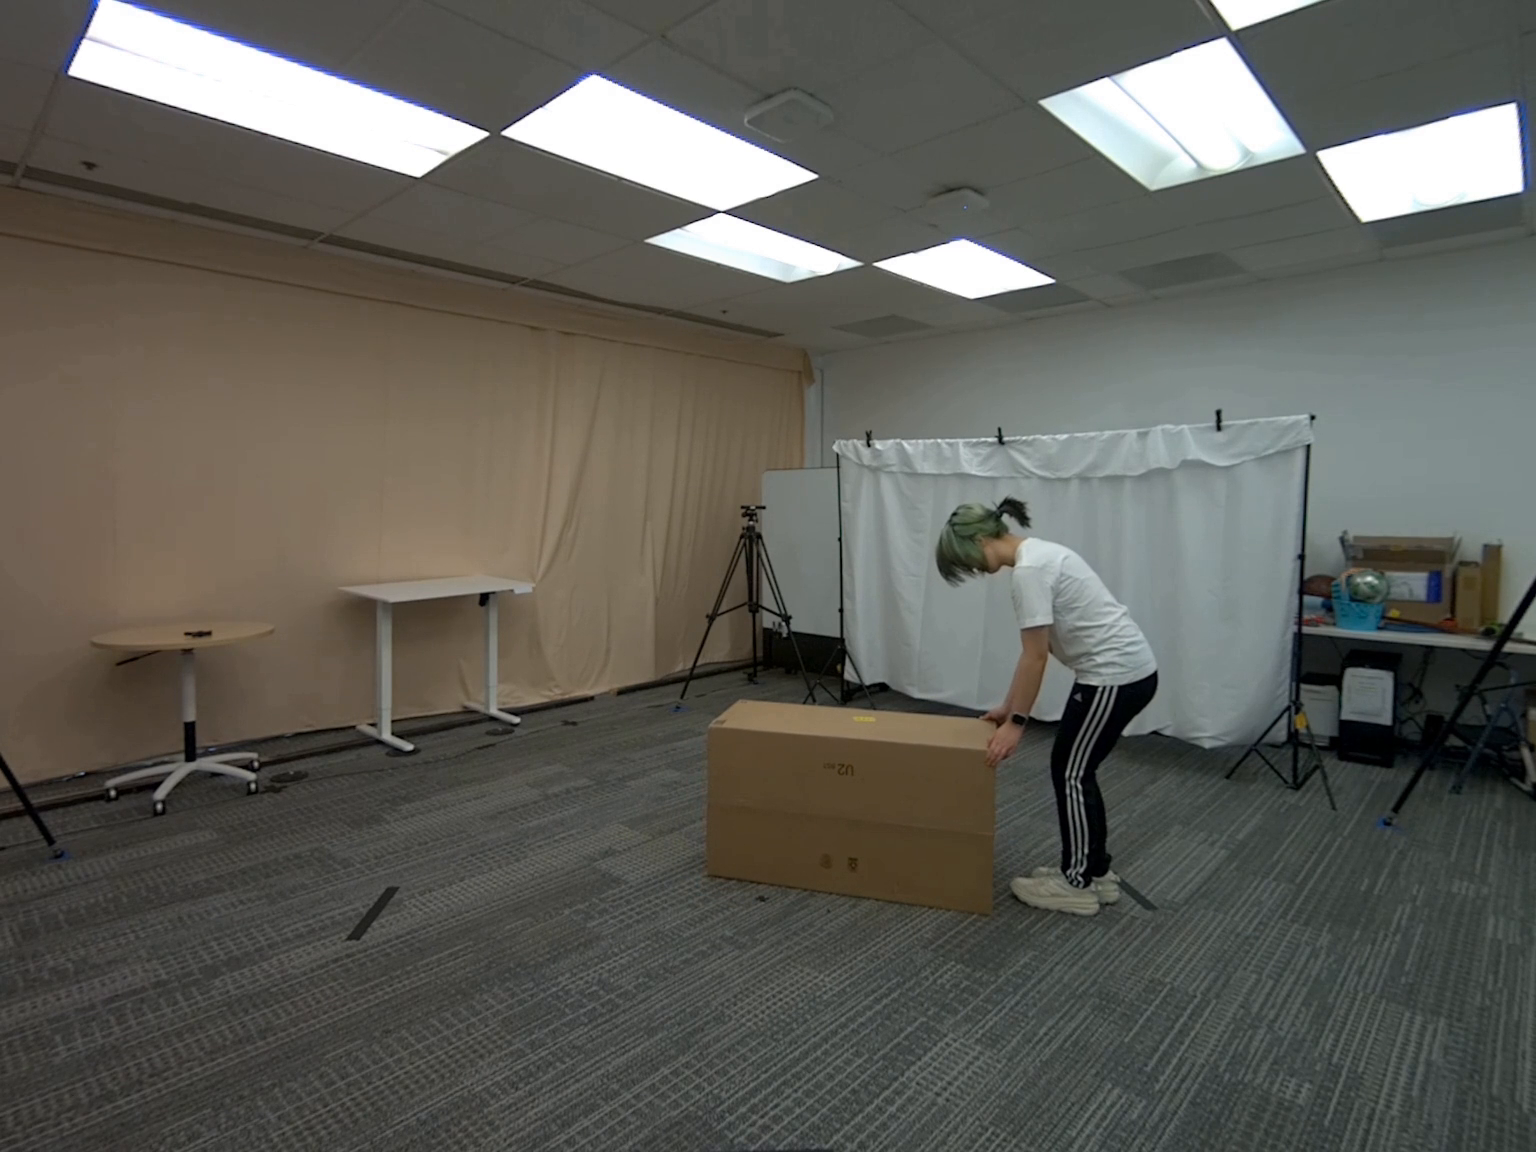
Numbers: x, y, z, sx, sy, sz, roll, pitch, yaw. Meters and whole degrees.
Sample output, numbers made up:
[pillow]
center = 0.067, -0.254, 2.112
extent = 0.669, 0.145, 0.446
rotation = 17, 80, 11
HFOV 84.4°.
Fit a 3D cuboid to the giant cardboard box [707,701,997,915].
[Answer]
[giant cardboard box]
center = 0.325, 0.838, 3.187
extent = 1.046, 0.583, 0.439
rotation = 2, 3, 17
